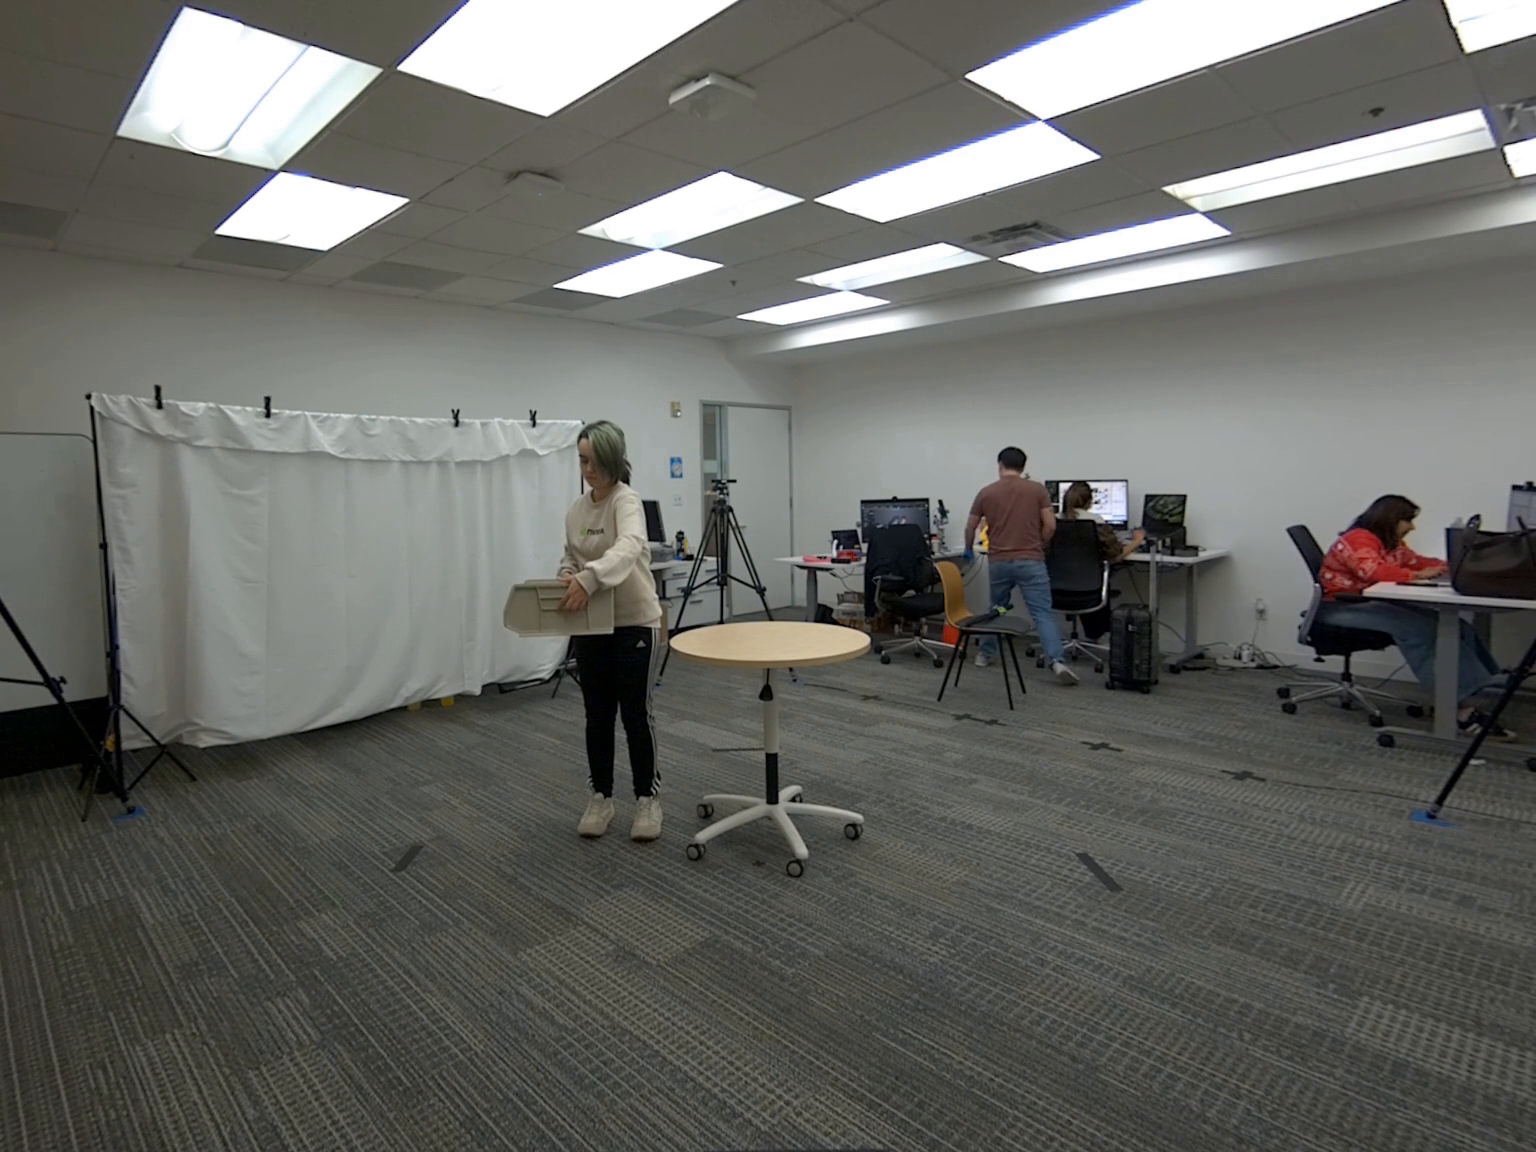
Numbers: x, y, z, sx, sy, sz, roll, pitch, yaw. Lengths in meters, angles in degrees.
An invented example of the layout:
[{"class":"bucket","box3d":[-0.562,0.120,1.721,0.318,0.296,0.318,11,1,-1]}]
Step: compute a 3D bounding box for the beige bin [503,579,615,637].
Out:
[{"class":"beige bin","box3d":[-0.749,0.112,3.099,0.374,0.189,0.426,-1,1,-10]}]
